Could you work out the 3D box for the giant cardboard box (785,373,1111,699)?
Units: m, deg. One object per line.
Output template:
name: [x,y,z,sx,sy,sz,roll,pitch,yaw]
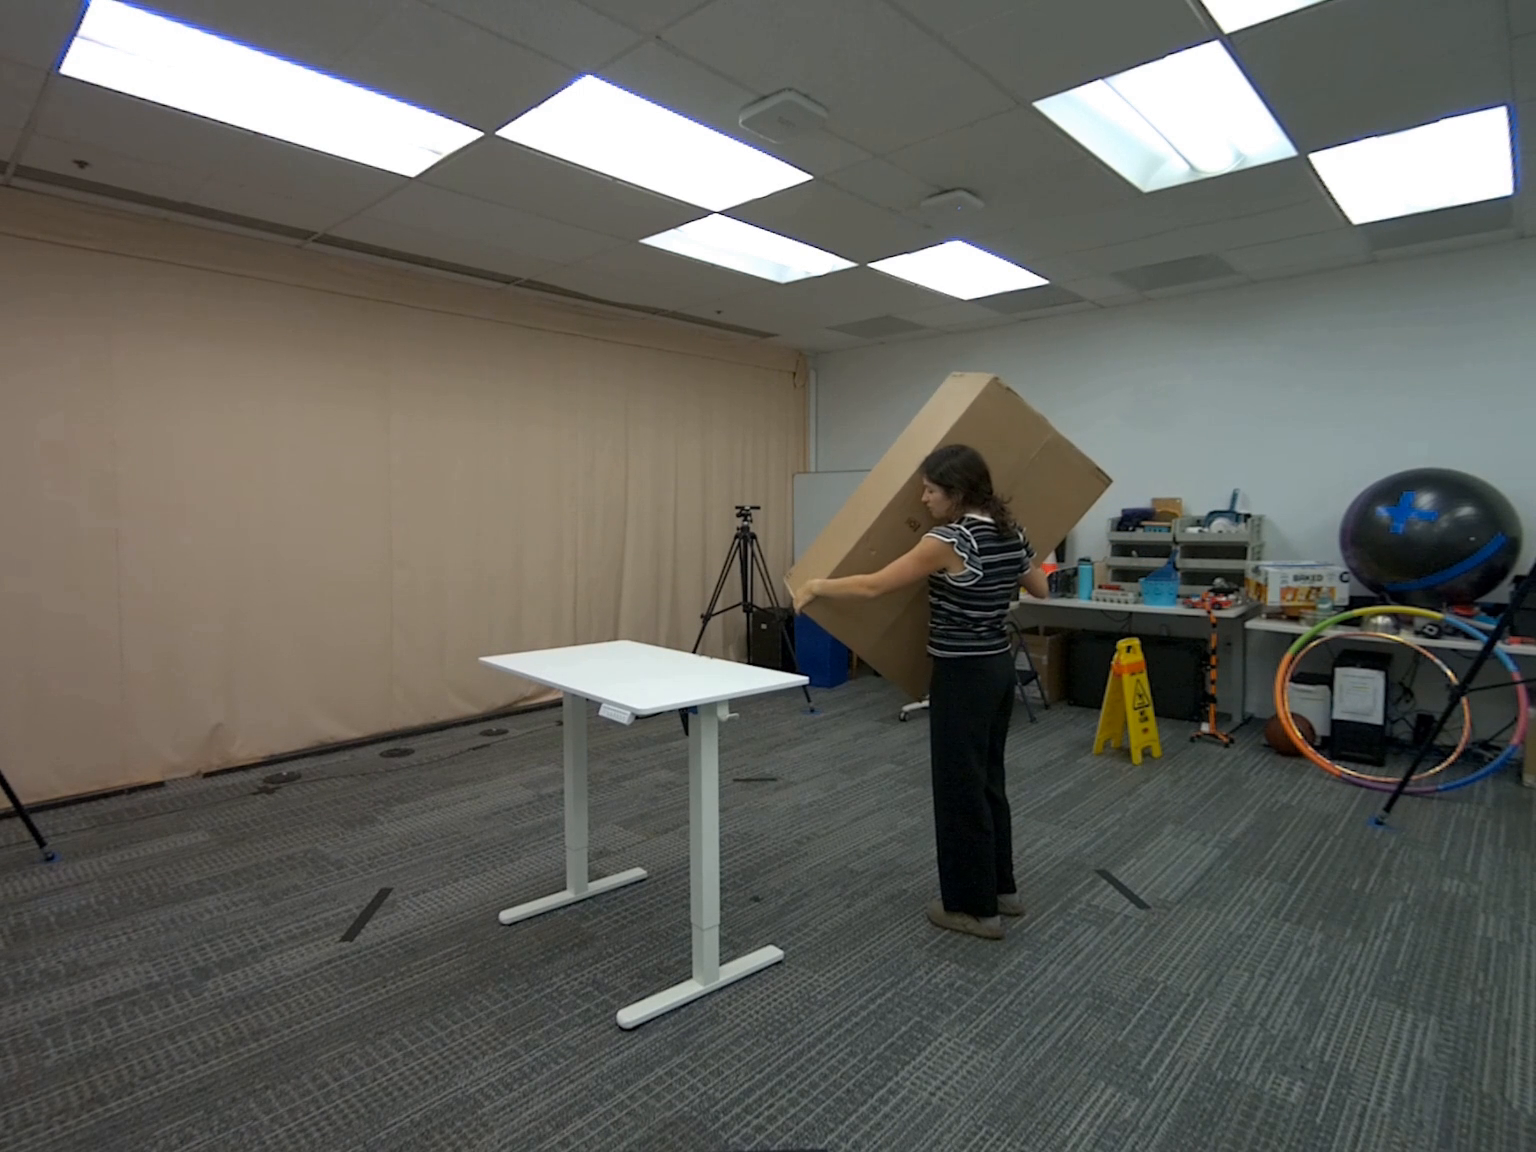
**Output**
giant cardboard box: [0.625,-0.154,3.095,0.570,1.027,0.431,38,8,-11]
